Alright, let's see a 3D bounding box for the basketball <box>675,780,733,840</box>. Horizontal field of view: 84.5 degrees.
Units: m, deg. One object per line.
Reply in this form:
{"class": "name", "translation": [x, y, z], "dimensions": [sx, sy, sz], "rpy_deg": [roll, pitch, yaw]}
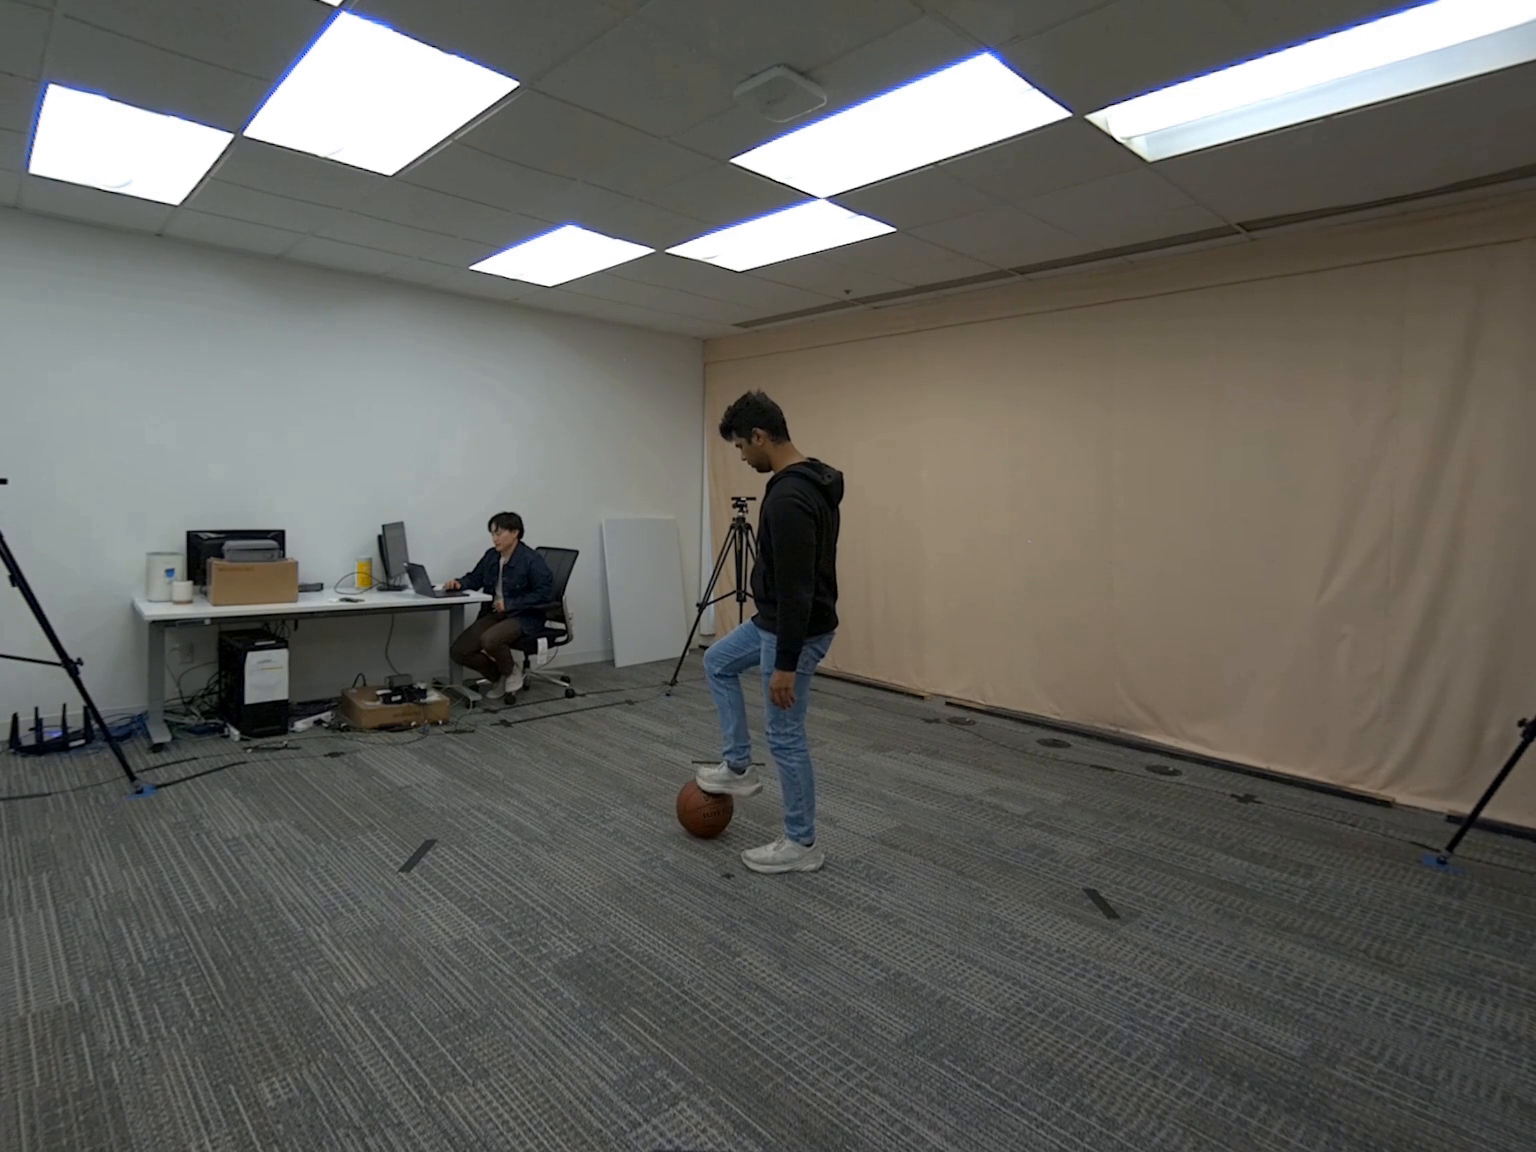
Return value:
{"class": "basketball", "translation": [-0.281, 0.951, 3.494], "dimensions": [0.236, 0.235, 0.237], "rpy_deg": [1, 4, -1]}
